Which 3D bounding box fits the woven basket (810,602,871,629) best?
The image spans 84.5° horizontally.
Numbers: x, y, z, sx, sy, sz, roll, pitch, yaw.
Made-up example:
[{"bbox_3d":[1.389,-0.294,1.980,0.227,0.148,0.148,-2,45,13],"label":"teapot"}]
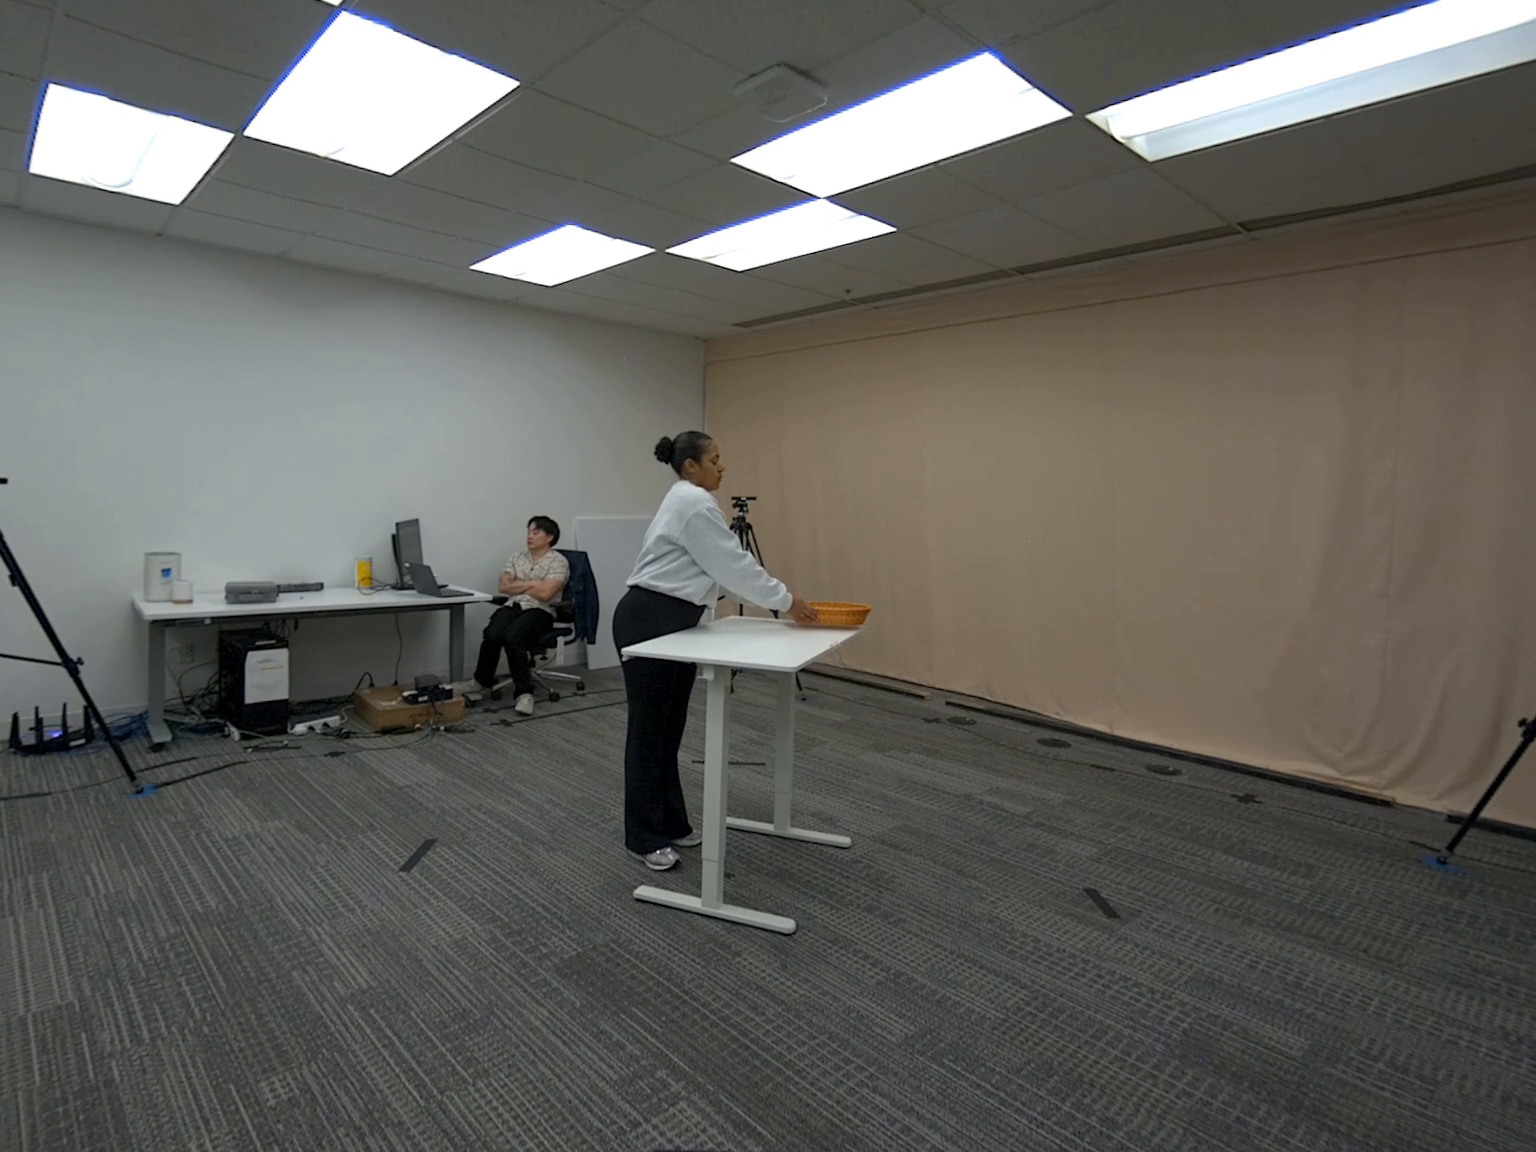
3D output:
[{"bbox_3d":[0.237,0.156,3.419,0.353,0.073,0.251,2,5,9],"label":"woven basket"}]
